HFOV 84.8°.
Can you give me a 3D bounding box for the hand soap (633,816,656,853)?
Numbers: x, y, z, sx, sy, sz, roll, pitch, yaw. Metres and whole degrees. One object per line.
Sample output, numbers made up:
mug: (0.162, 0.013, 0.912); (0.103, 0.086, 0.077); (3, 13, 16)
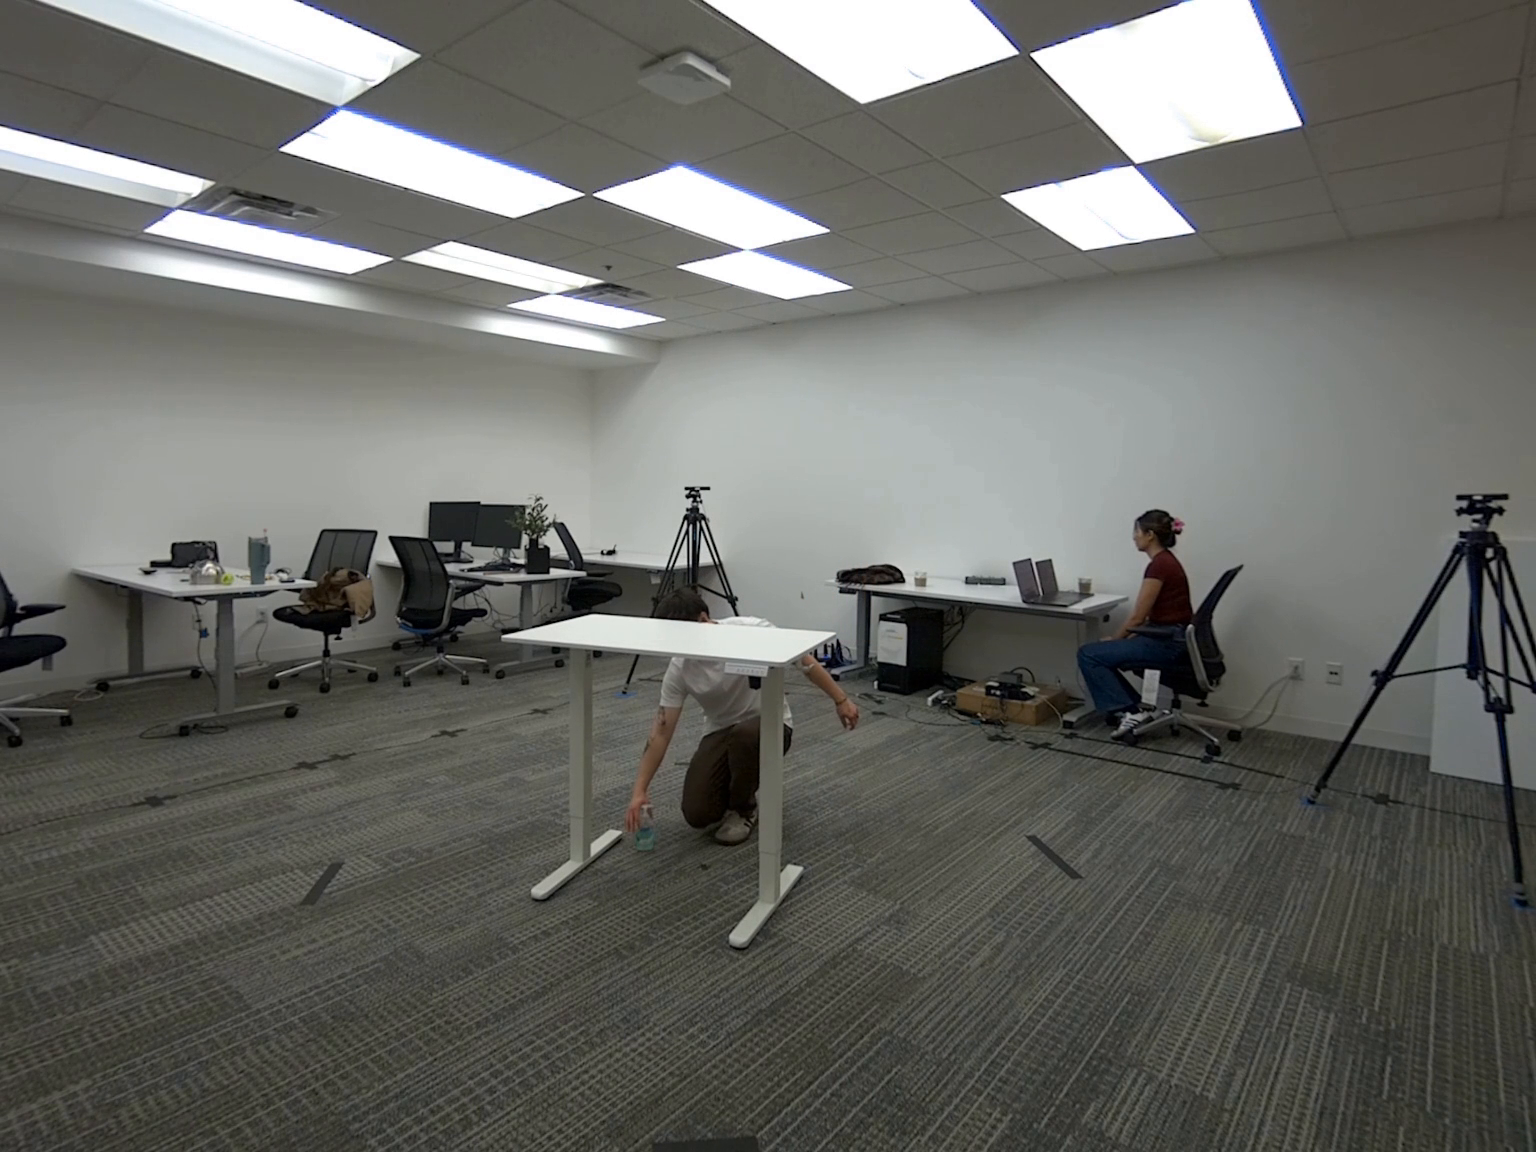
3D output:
hand soap: (-0.481, 0.969, 3.269); (0.083, 0.168, 0.044); (-4, 2, -14)
